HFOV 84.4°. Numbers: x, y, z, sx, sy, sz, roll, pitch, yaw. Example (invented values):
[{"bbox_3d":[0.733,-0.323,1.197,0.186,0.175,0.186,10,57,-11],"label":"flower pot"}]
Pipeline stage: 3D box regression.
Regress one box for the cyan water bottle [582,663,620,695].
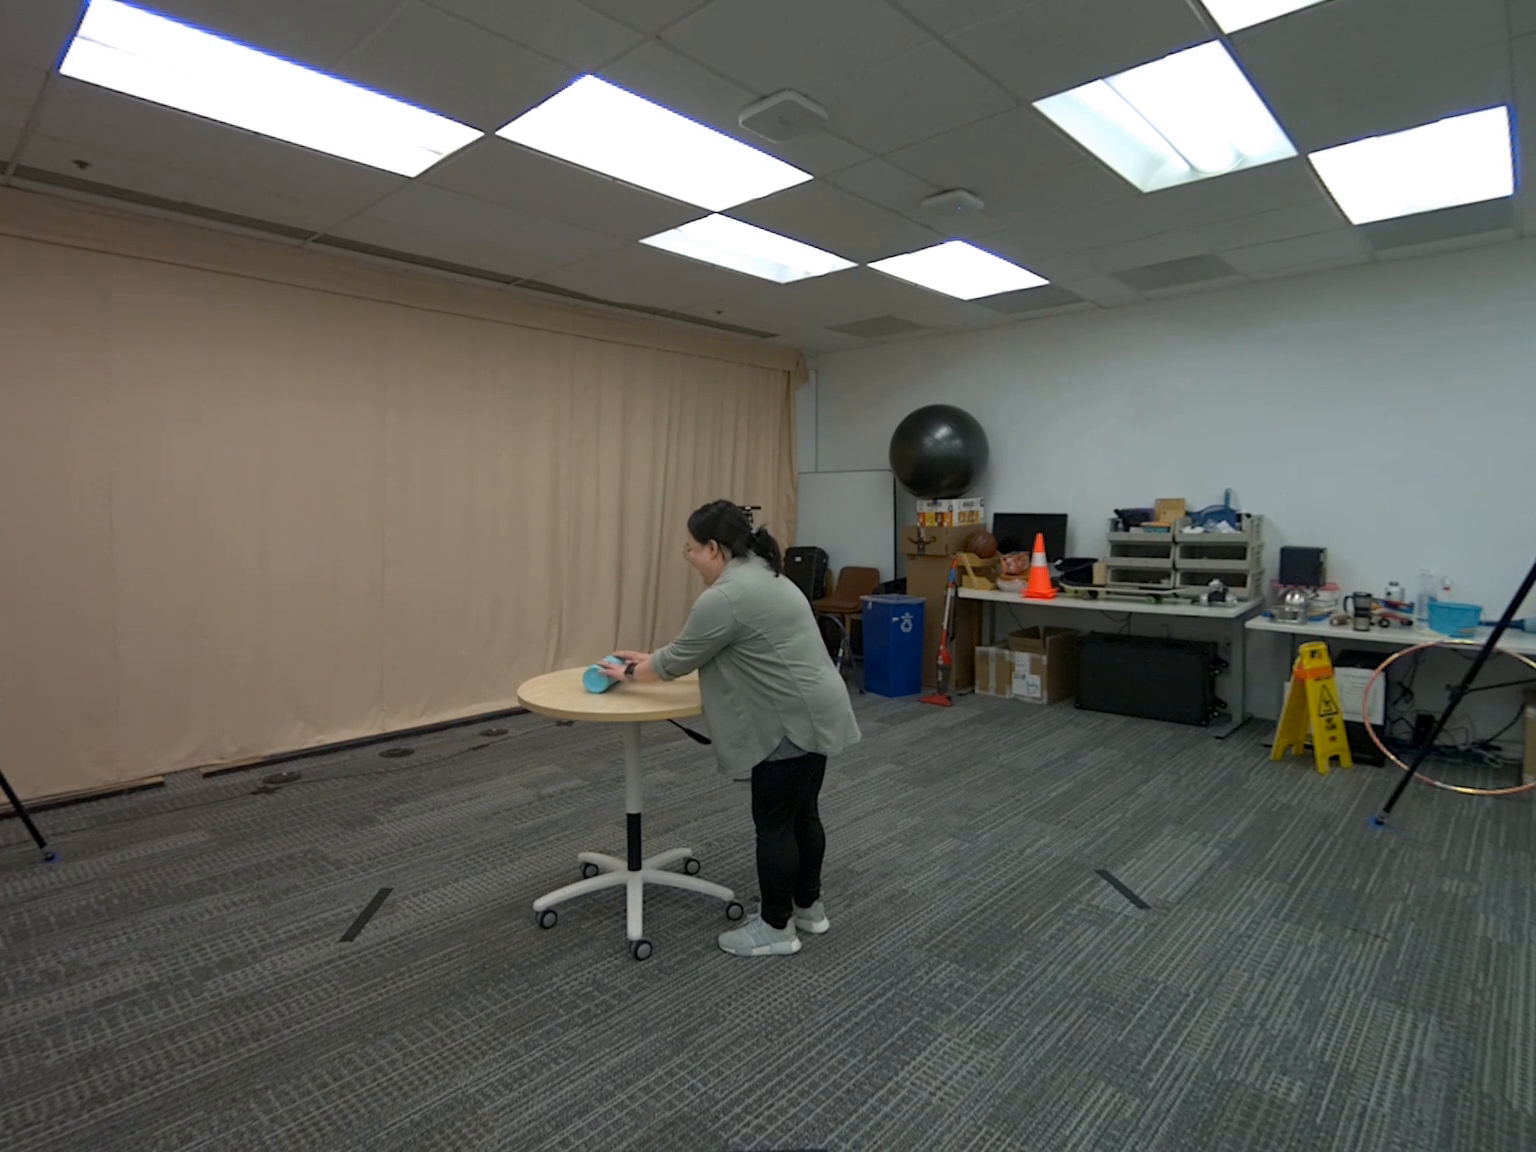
[{"bbox_3d":[-0.542,0.330,2.880,0.093,0.092,0.282,0,5,6],"label":"cyan water bottle"}]
